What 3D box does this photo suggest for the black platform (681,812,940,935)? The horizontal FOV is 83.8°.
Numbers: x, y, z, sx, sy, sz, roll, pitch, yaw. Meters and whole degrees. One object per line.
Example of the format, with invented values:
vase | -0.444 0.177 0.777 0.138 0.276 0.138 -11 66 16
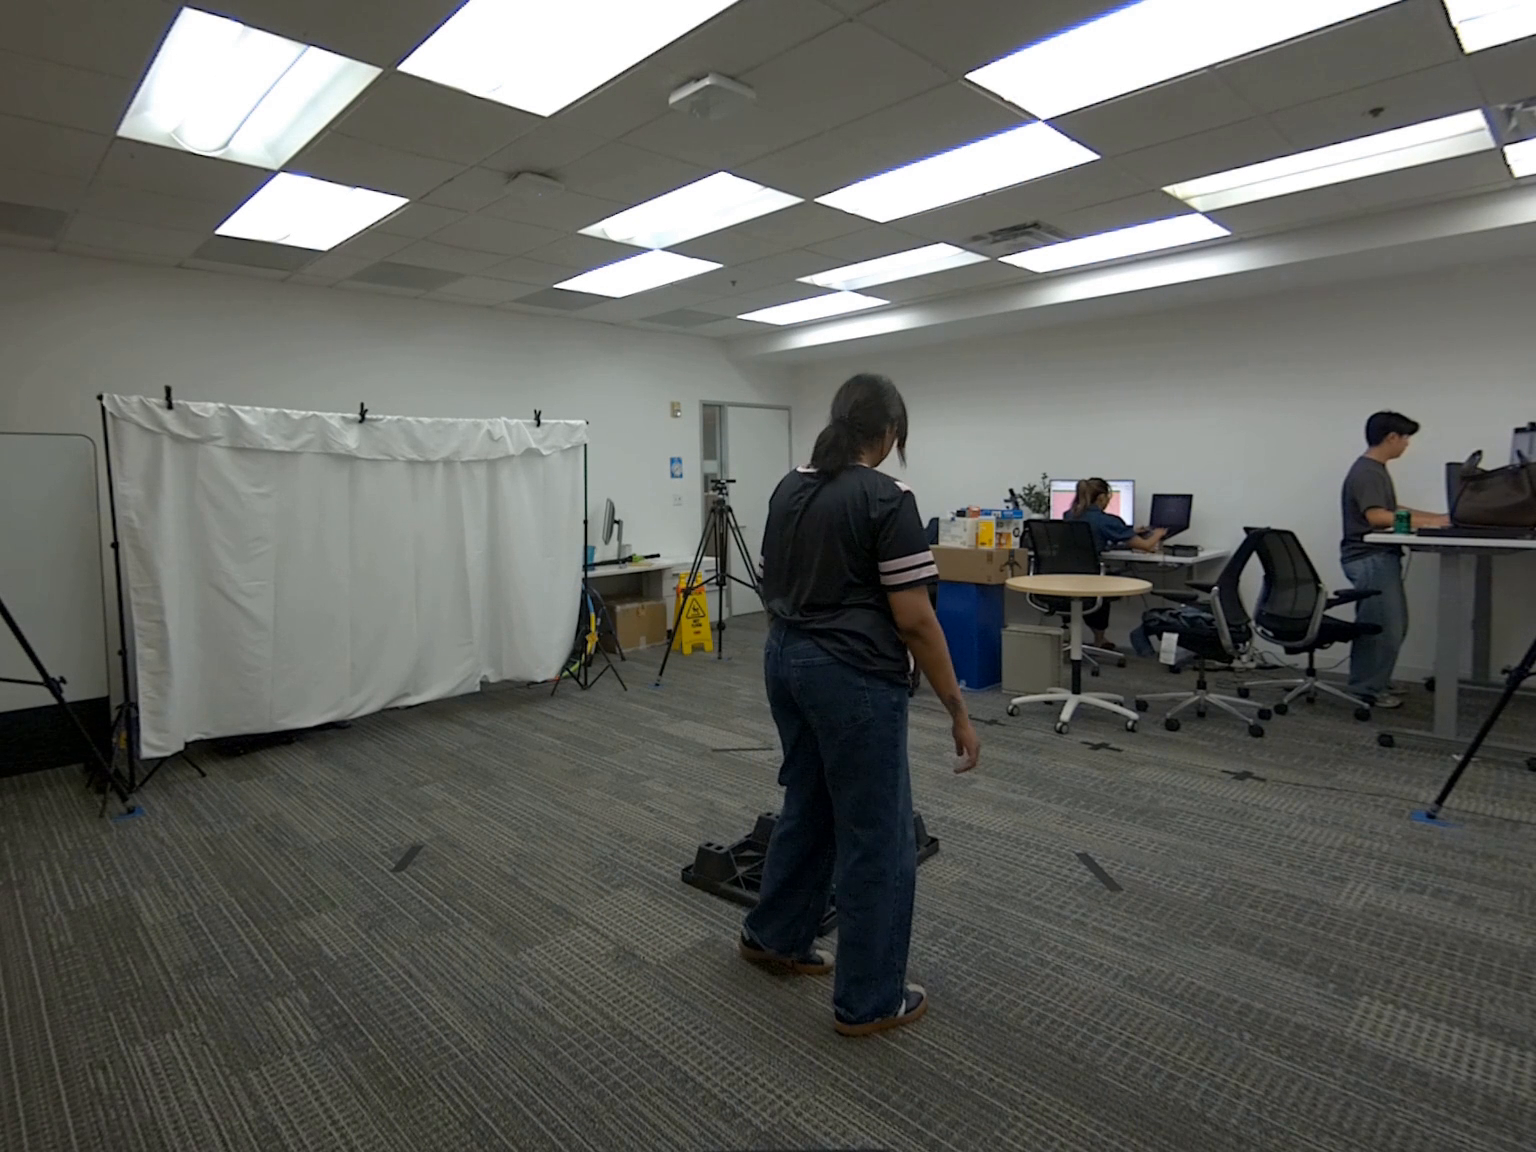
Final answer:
black platform | 0.177 0.982 3.082 0.623 0.143 0.785 4 8 38
